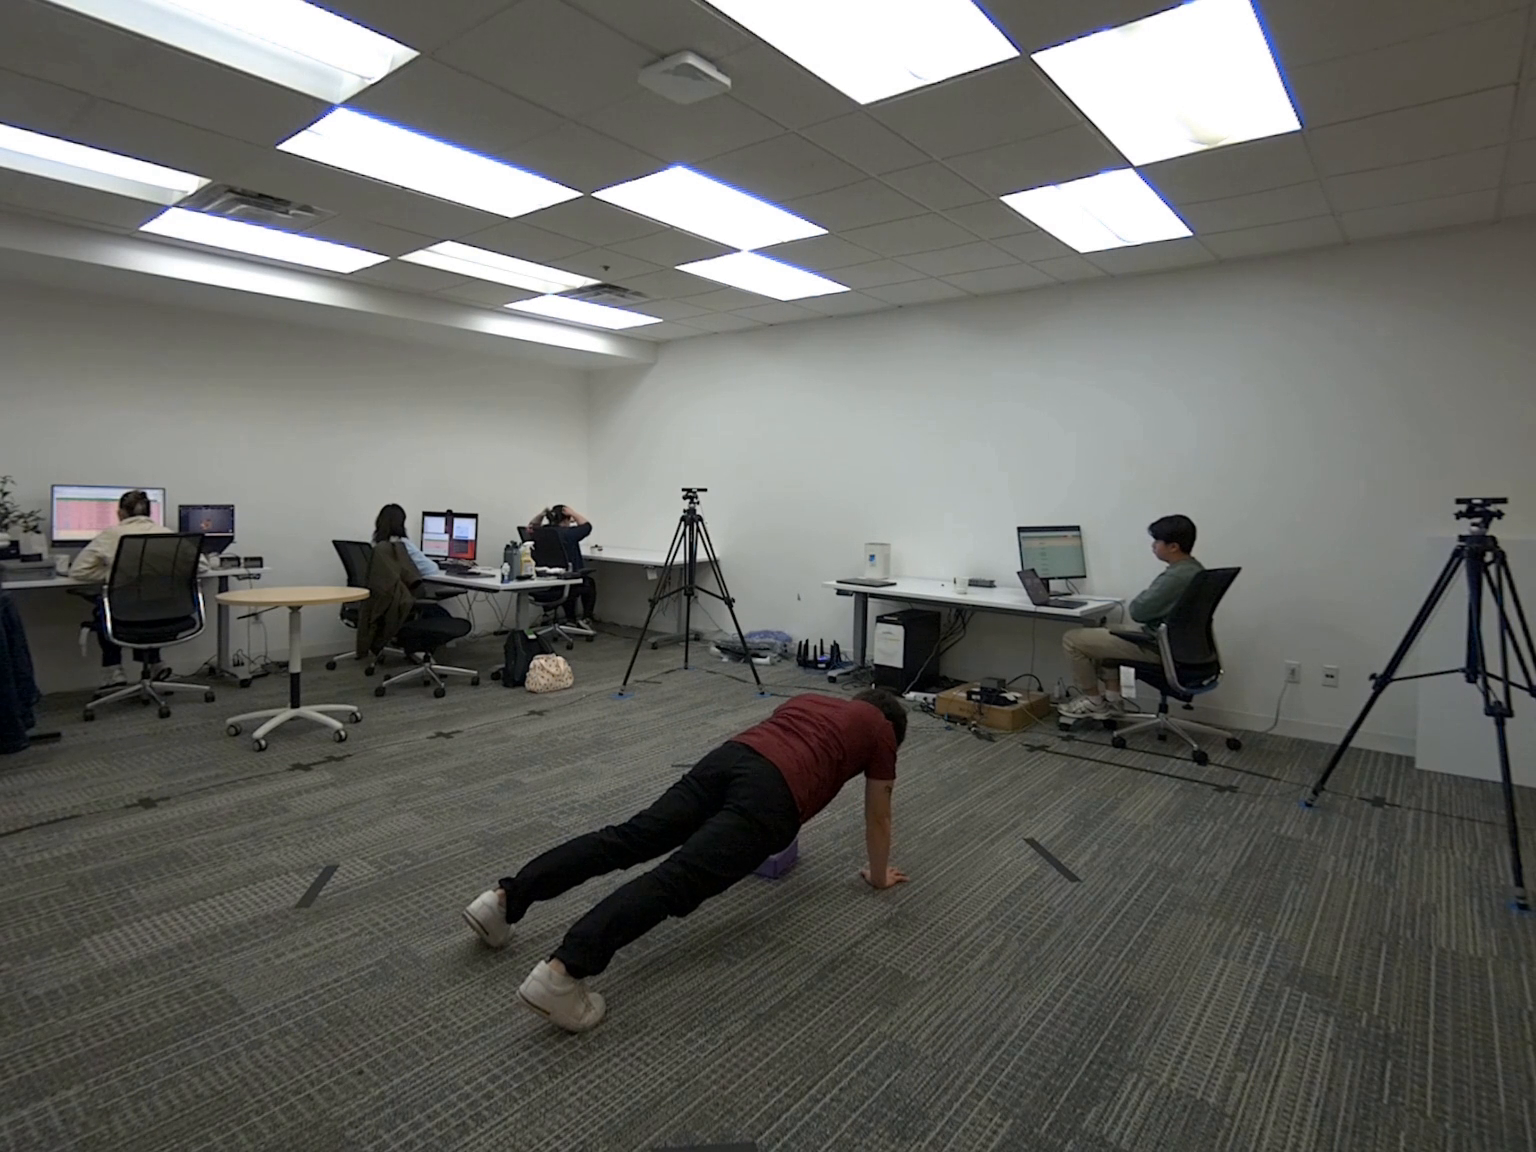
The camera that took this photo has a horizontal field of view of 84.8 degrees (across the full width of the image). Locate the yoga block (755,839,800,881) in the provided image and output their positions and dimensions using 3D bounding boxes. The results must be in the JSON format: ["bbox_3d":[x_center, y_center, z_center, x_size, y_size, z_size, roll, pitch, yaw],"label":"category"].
[{"bbox_3d":[0.001,1.023,3.163,0.153,0.076,0.224,2,5,24],"label":"yoga block"}]
